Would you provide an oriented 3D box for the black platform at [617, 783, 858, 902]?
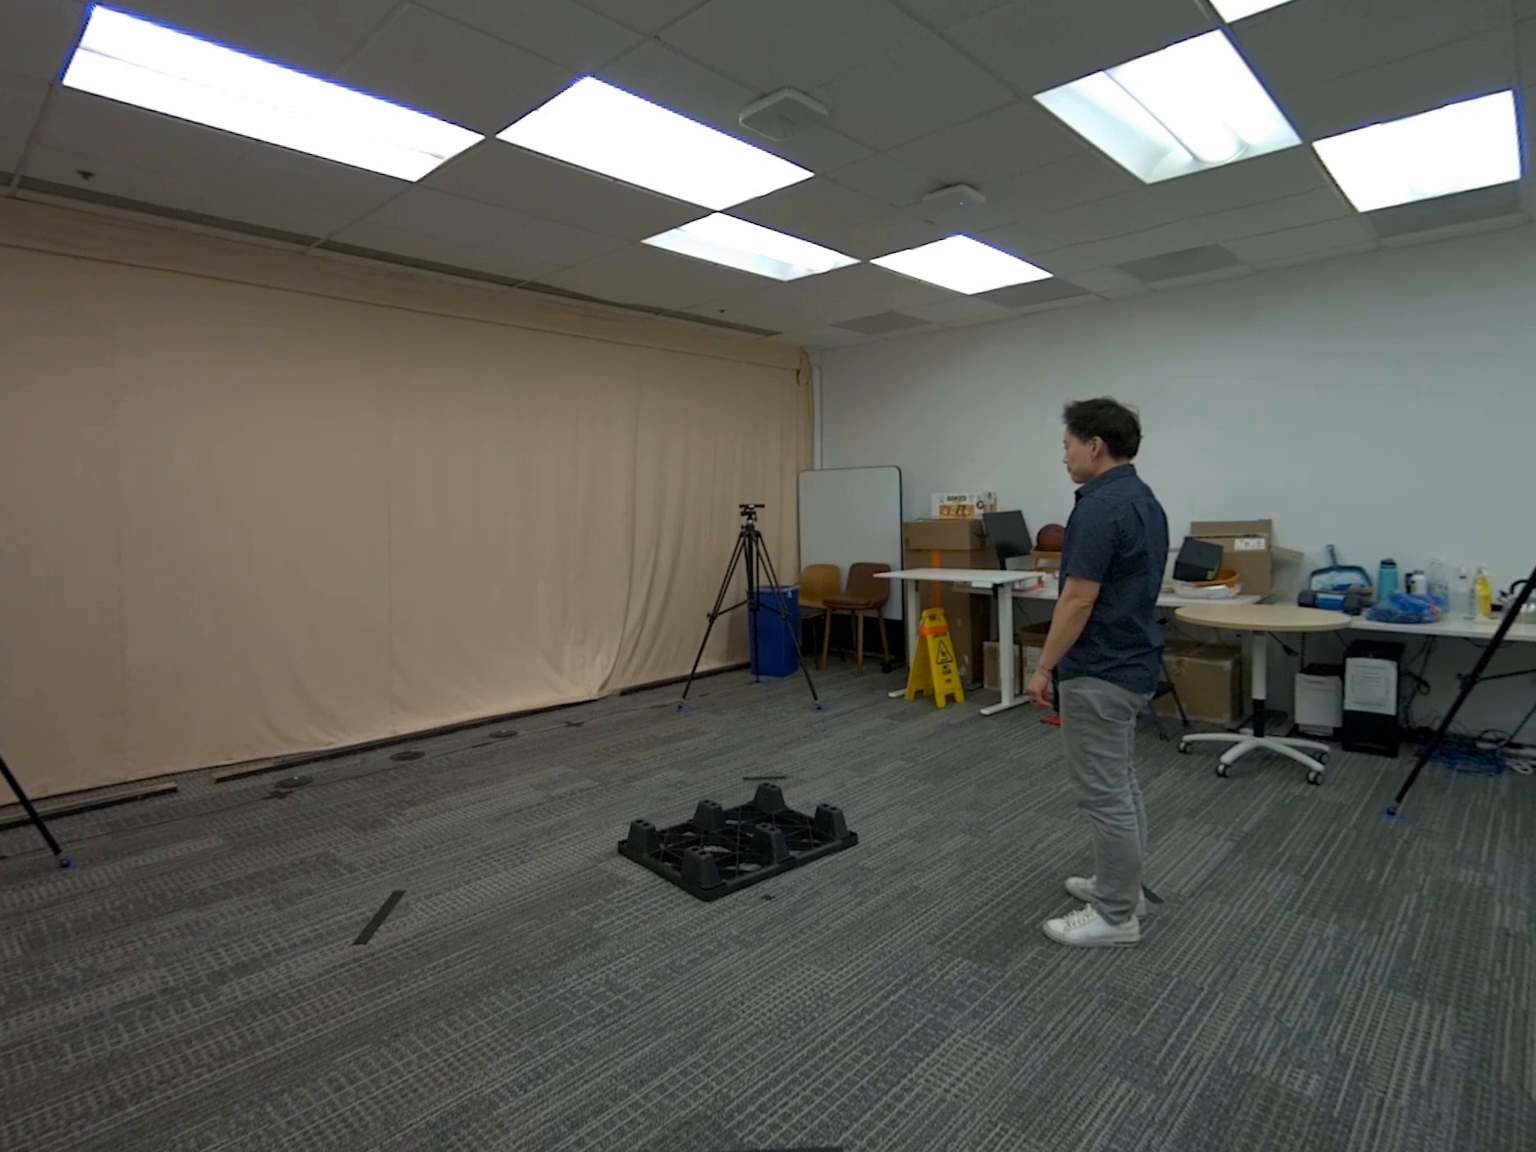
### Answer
[{"bbox_3d":[-0.119,1.038,3.425,0.781,0.143,0.625,-5,6,-40],"label":"black platform"}]
